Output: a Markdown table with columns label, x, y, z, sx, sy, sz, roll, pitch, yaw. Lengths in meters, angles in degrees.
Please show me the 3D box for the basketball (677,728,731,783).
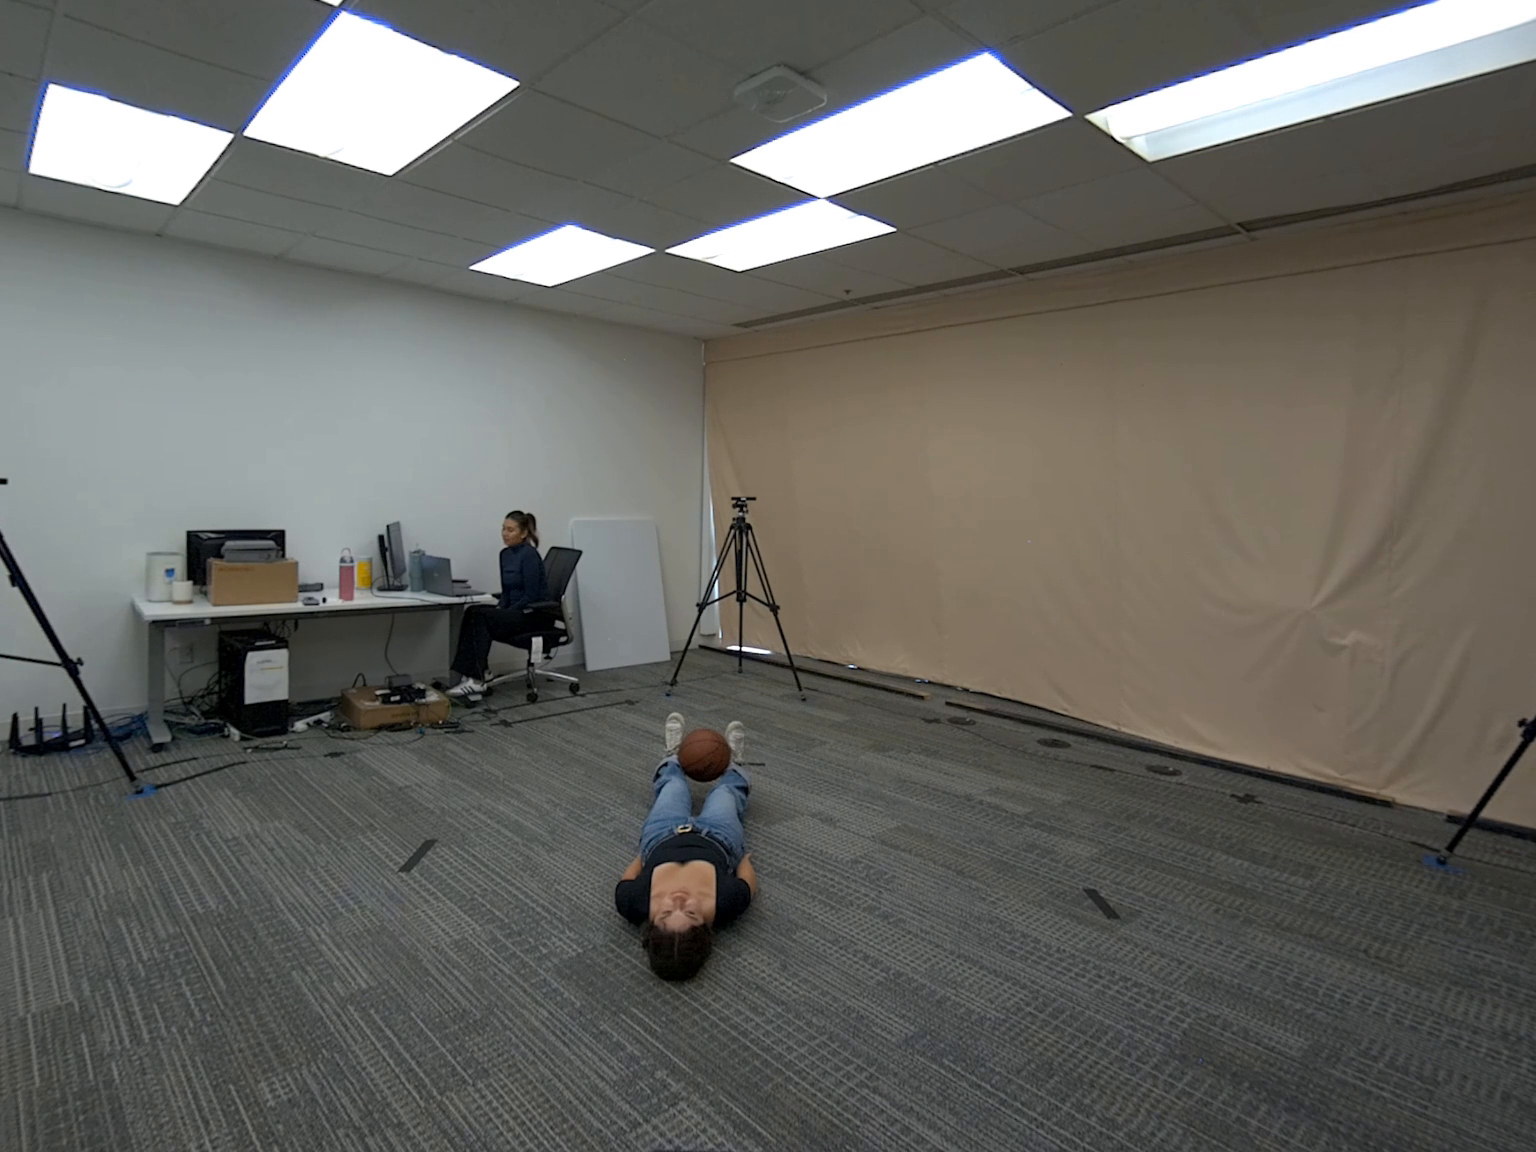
| label | x | y | z | sx | sy | sz | roll | pitch | yaw |
| --- | --- | --- | --- | --- | --- | --- | --- | --- | --- |
| basketball | -0.304 | 0.816 | 3.855 | 0.236 | 0.235 | 0.237 | 1 | 4 | -1 |
